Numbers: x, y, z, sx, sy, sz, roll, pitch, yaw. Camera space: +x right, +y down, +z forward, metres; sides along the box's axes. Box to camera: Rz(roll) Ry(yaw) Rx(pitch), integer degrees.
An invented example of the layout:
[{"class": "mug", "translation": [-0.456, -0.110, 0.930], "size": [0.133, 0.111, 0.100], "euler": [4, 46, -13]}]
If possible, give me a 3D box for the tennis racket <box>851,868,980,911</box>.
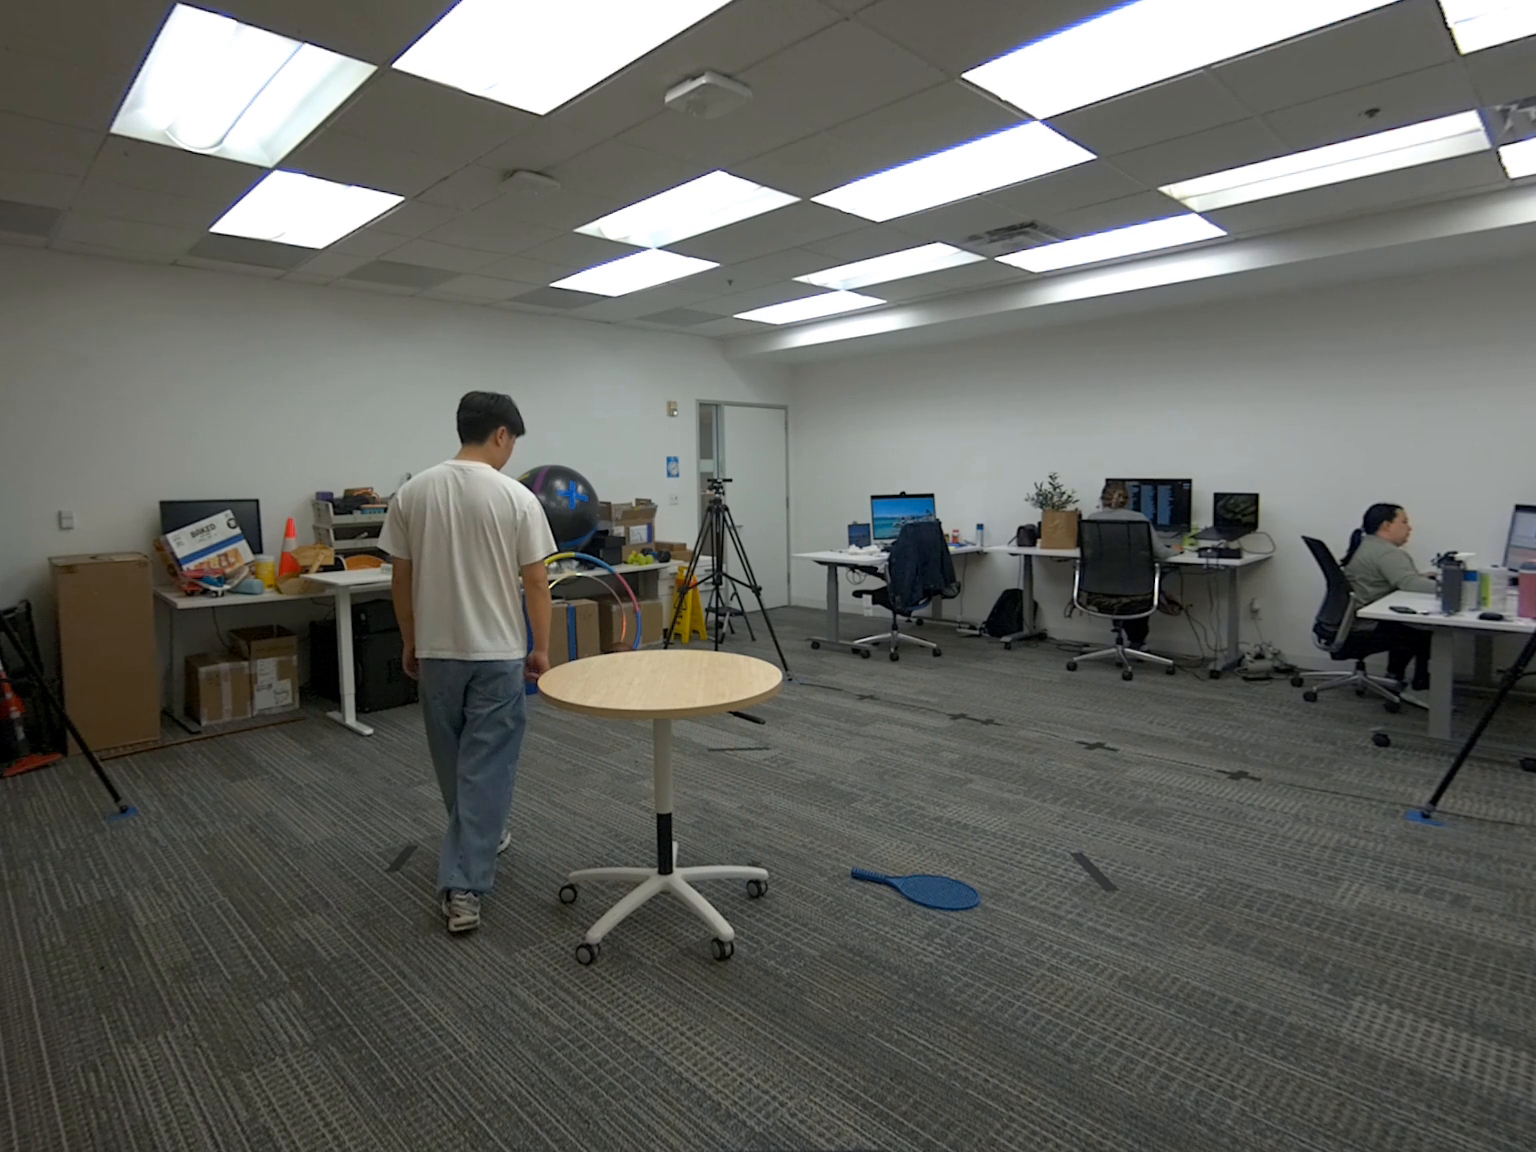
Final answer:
[{"class": "tennis racket", "translation": [0.490, 1.042, 2.890], "size": [0.444, 0.031, 0.209], "euler": [4, 7, 27]}]
